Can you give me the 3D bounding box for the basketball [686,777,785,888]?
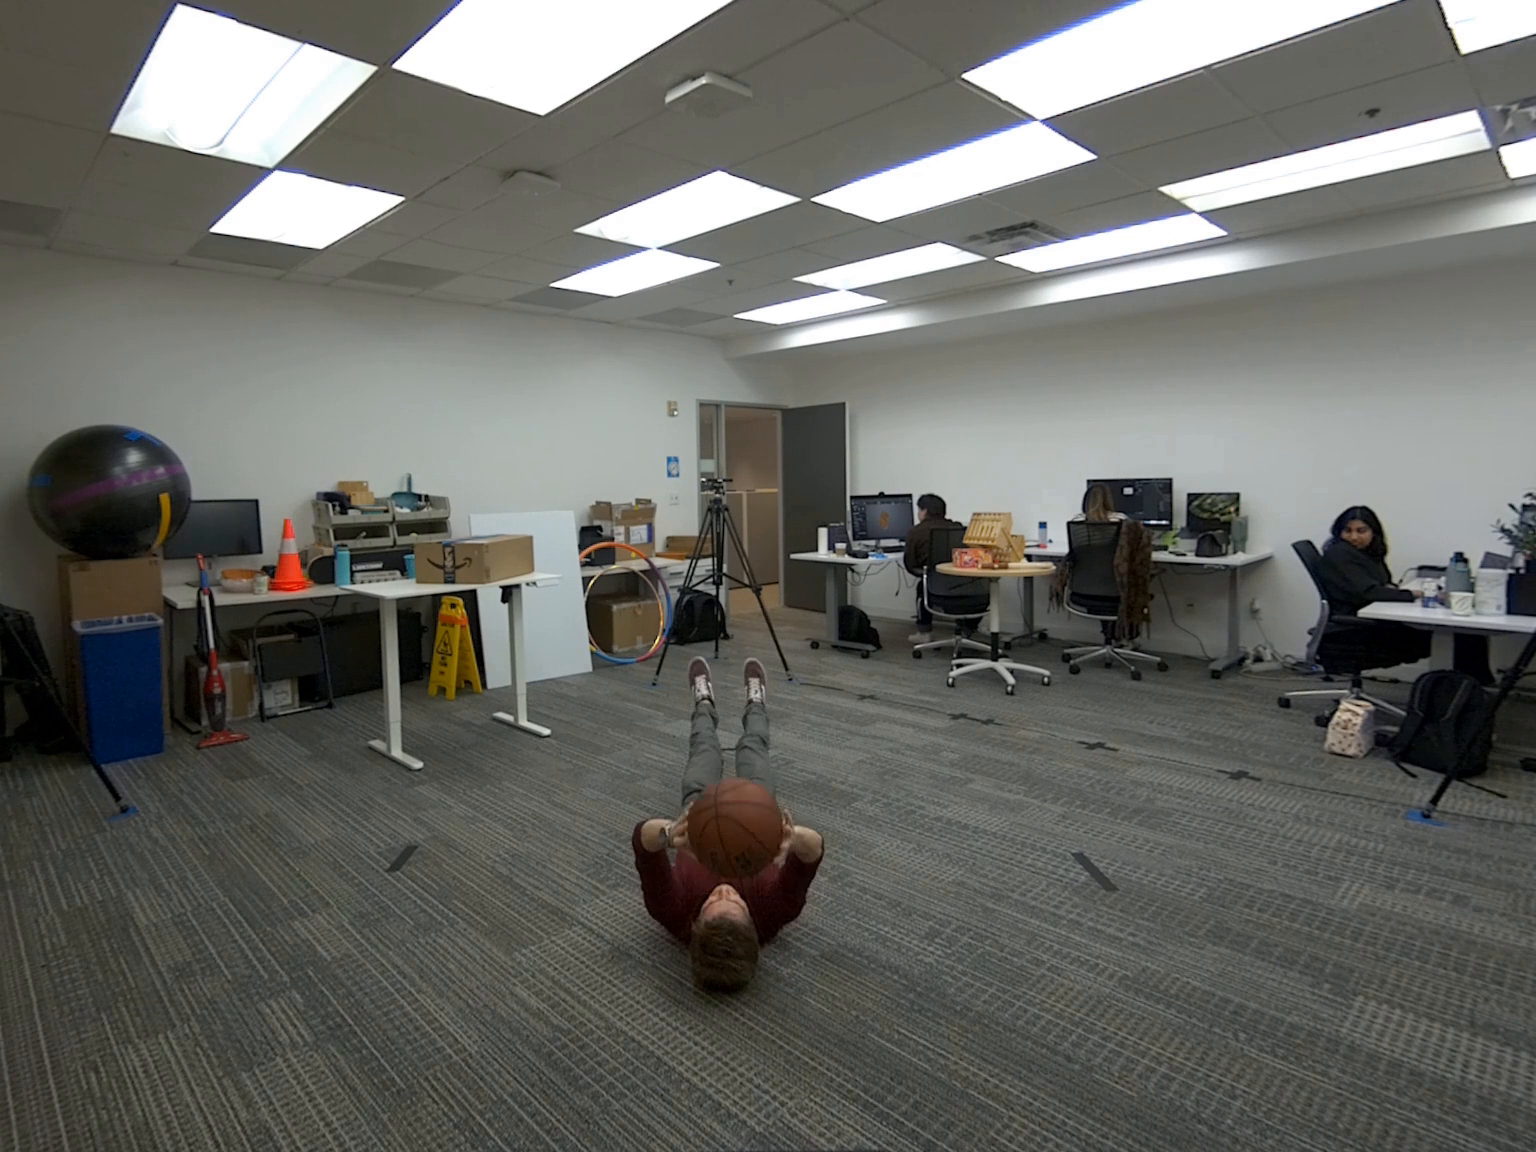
[{"bbox_3d":[-0.074,0.623,2.127,0.236,0.235,0.237,-1,5,-2],"label":"basketball"}]
